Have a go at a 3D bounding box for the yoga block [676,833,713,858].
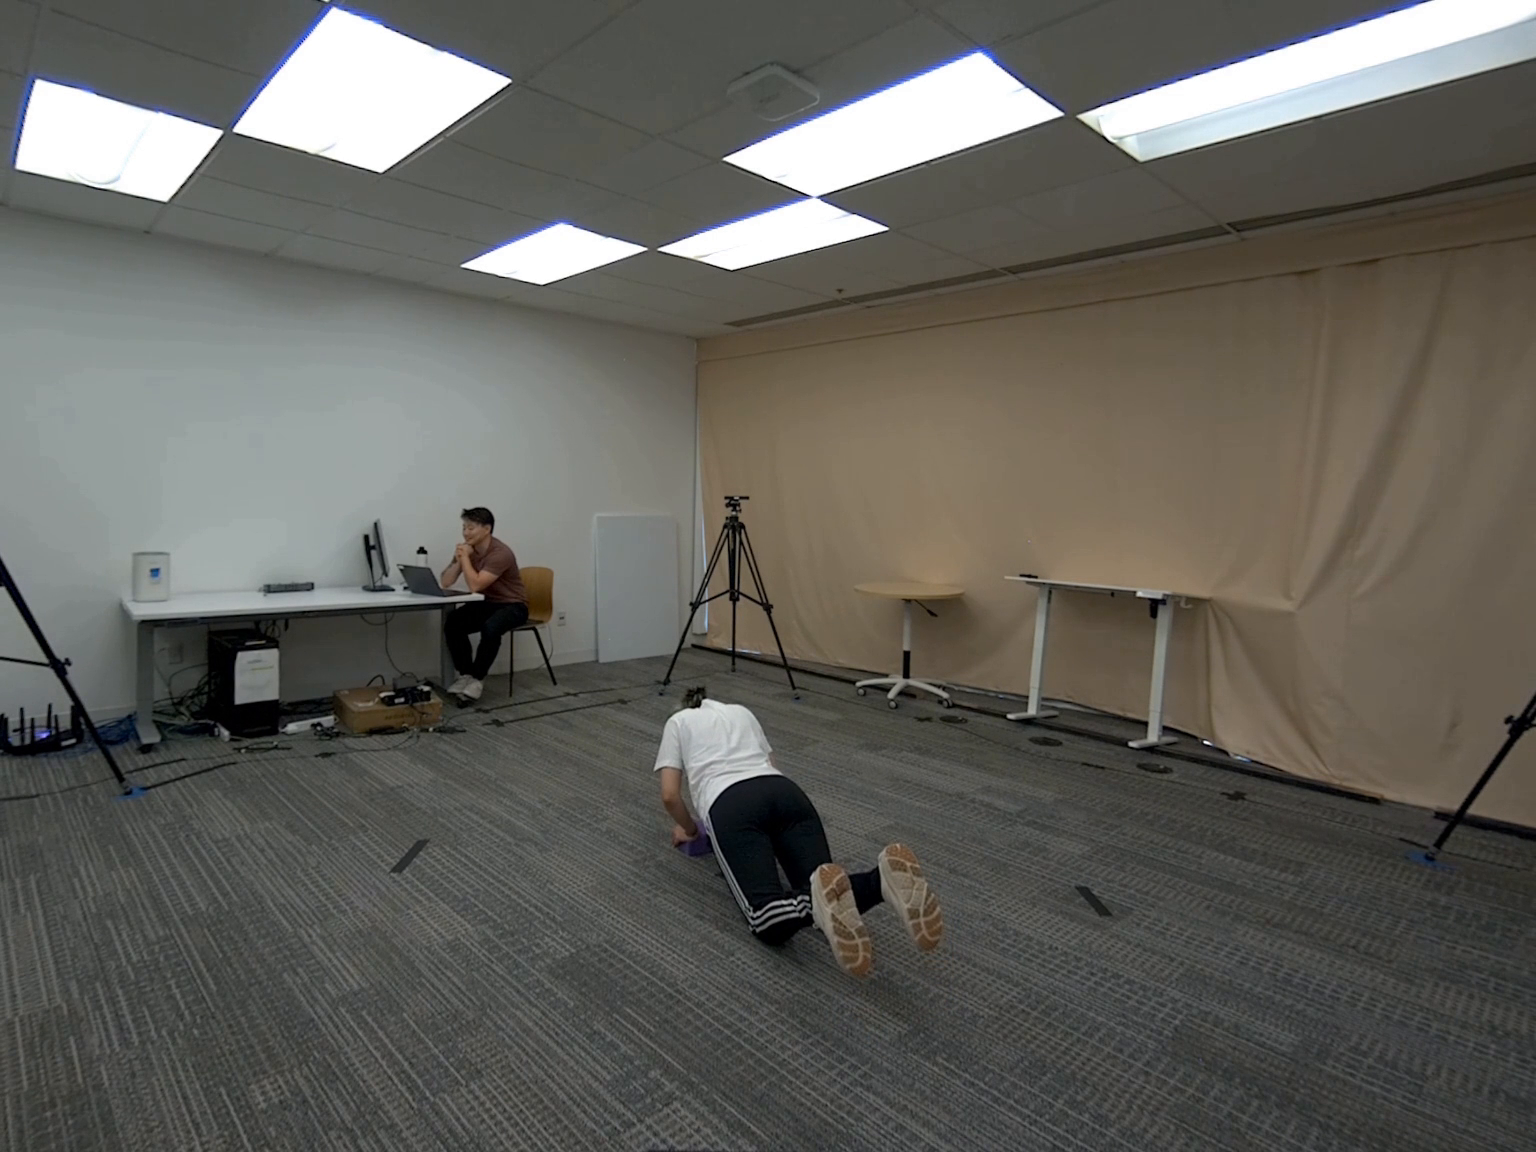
[{"bbox_3d":[-0.252,1.043,3.366,0.225,0.076,0.152,-2,5,-31],"label":"yoga block"}]
